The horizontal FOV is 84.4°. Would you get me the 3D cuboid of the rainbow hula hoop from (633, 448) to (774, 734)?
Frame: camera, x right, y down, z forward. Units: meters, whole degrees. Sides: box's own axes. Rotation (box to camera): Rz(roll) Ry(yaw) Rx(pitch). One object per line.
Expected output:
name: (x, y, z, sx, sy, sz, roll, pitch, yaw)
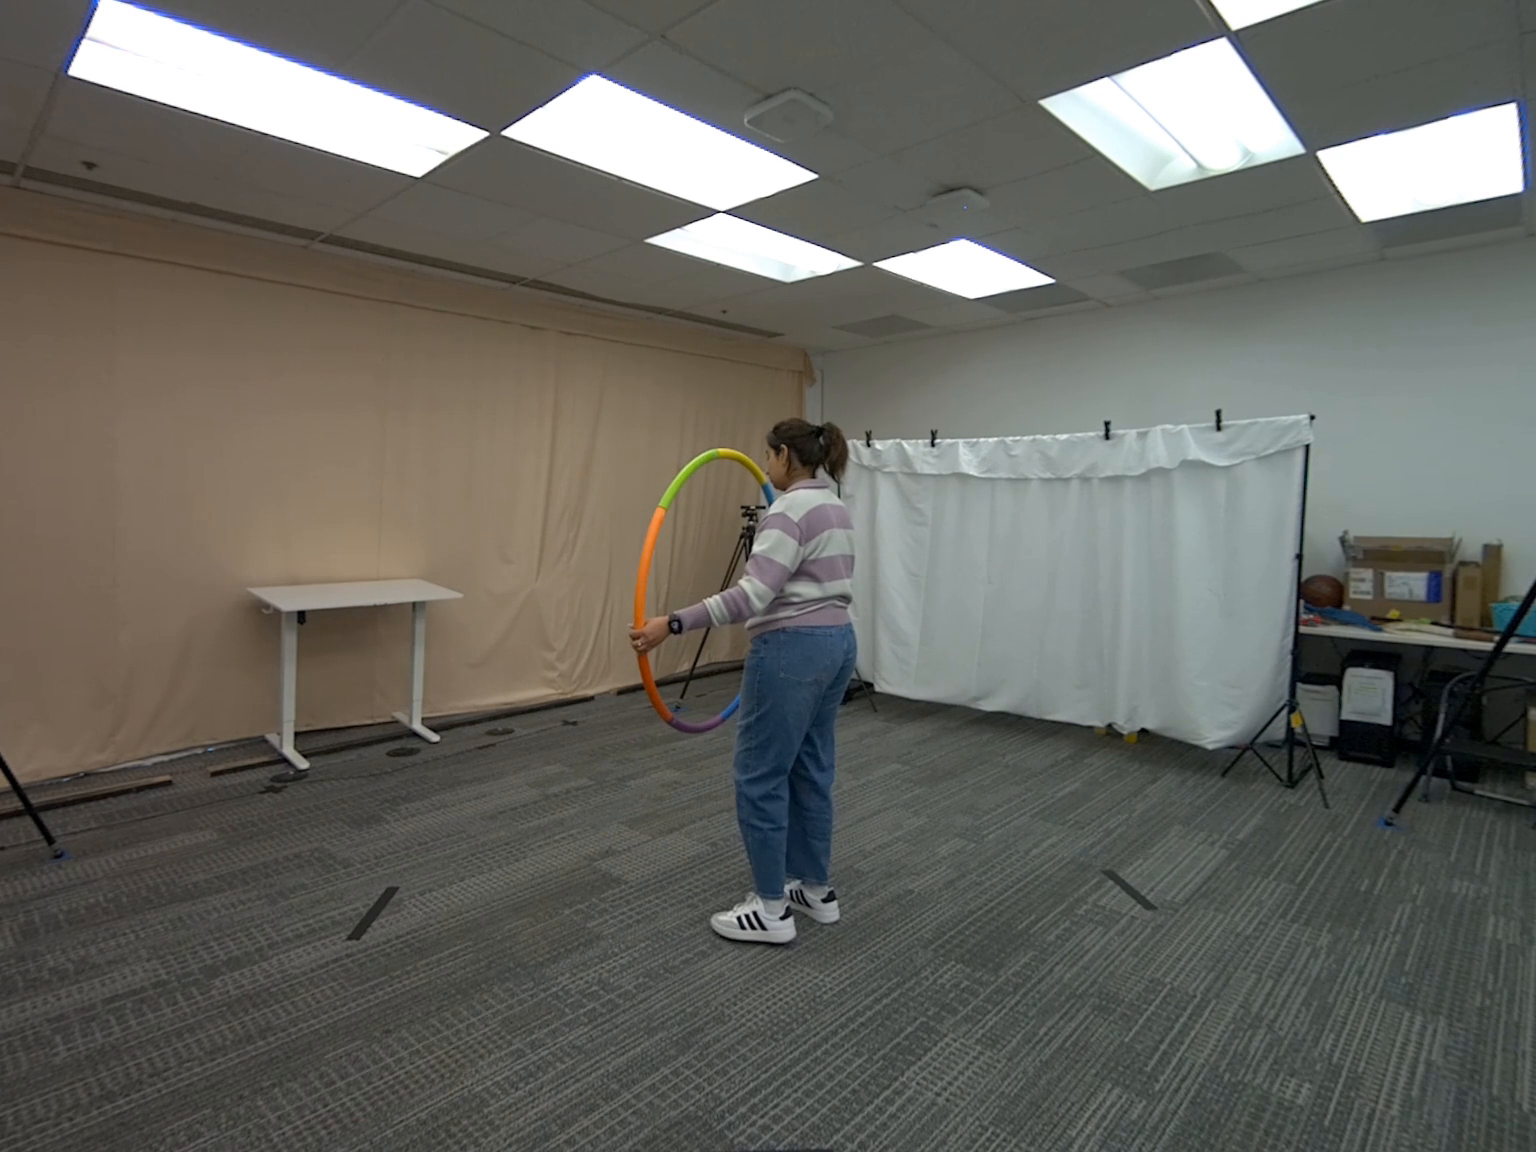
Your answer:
rainbow hula hoop: (-0.171, 0.055, 2.932, 0.036, 0.976, 0.953, 4, 5, 28)
